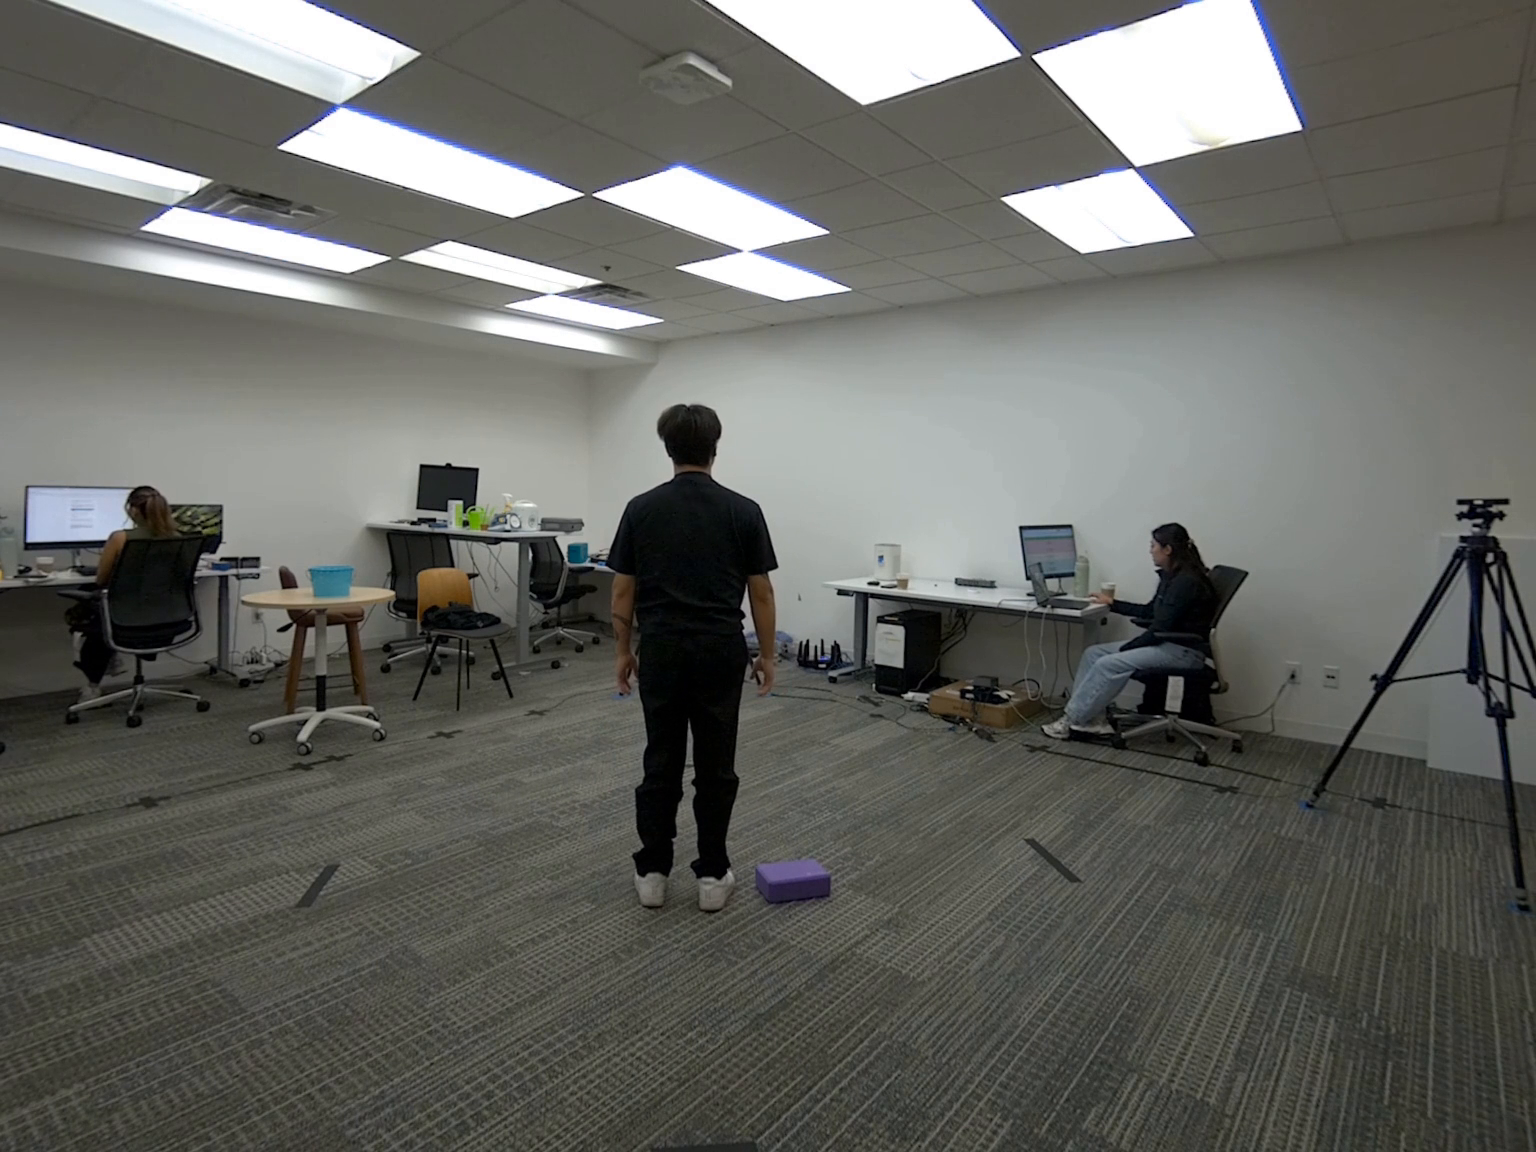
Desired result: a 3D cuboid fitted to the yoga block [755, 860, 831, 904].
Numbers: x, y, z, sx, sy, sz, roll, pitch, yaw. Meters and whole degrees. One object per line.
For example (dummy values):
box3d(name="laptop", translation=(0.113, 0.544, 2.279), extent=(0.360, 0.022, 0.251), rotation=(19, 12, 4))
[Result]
box3d(name="yoga block", translation=(0.076, 1.056, 2.948), extent=(0.225, 0.076, 0.152), rotation=(-2, 4, -18))
